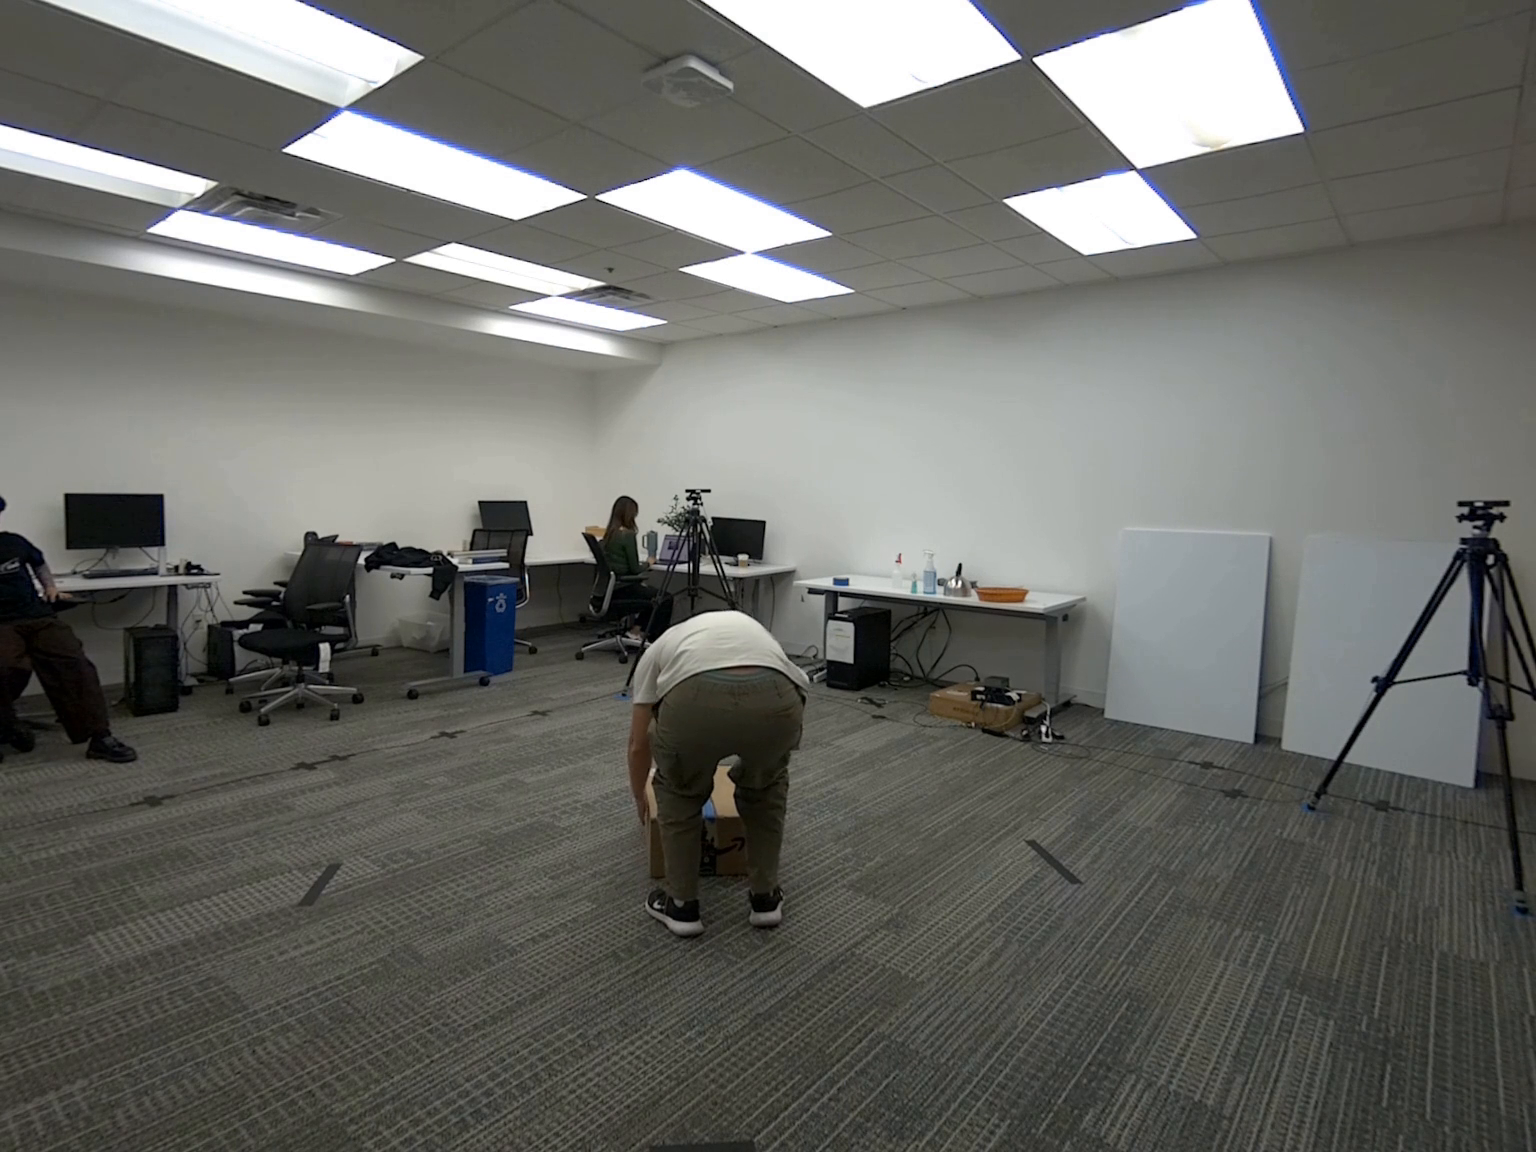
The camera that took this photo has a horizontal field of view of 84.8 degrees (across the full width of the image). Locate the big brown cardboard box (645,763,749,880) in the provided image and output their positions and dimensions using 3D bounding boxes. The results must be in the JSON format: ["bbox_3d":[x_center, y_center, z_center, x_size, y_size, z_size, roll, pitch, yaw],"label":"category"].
[{"bbox_3d":[-0.278,0.935,3.337,0.413,0.232,0.598,0,6,-10],"label":"big brown cardboard box"}]
